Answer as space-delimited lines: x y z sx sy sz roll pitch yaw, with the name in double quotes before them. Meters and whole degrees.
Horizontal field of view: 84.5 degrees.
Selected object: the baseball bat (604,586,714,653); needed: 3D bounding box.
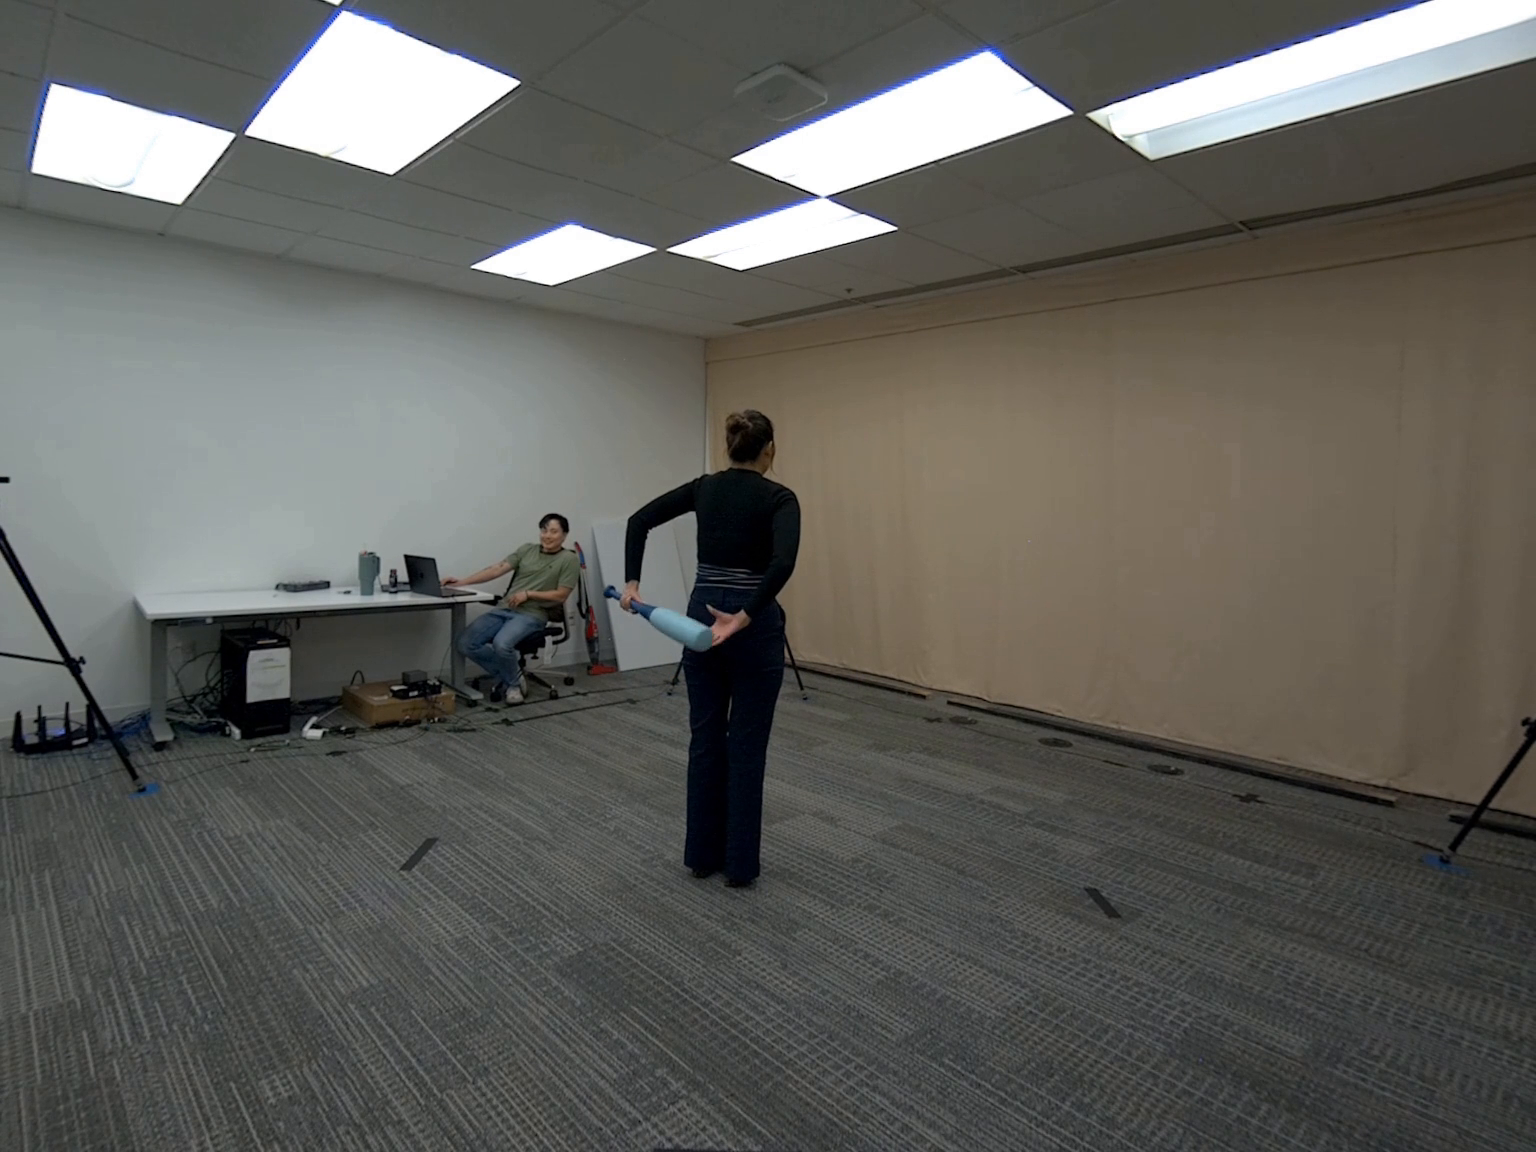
"baseball bat" -0.410 0.140 2.891 0.087 0.088 0.559 -3 17 -44
